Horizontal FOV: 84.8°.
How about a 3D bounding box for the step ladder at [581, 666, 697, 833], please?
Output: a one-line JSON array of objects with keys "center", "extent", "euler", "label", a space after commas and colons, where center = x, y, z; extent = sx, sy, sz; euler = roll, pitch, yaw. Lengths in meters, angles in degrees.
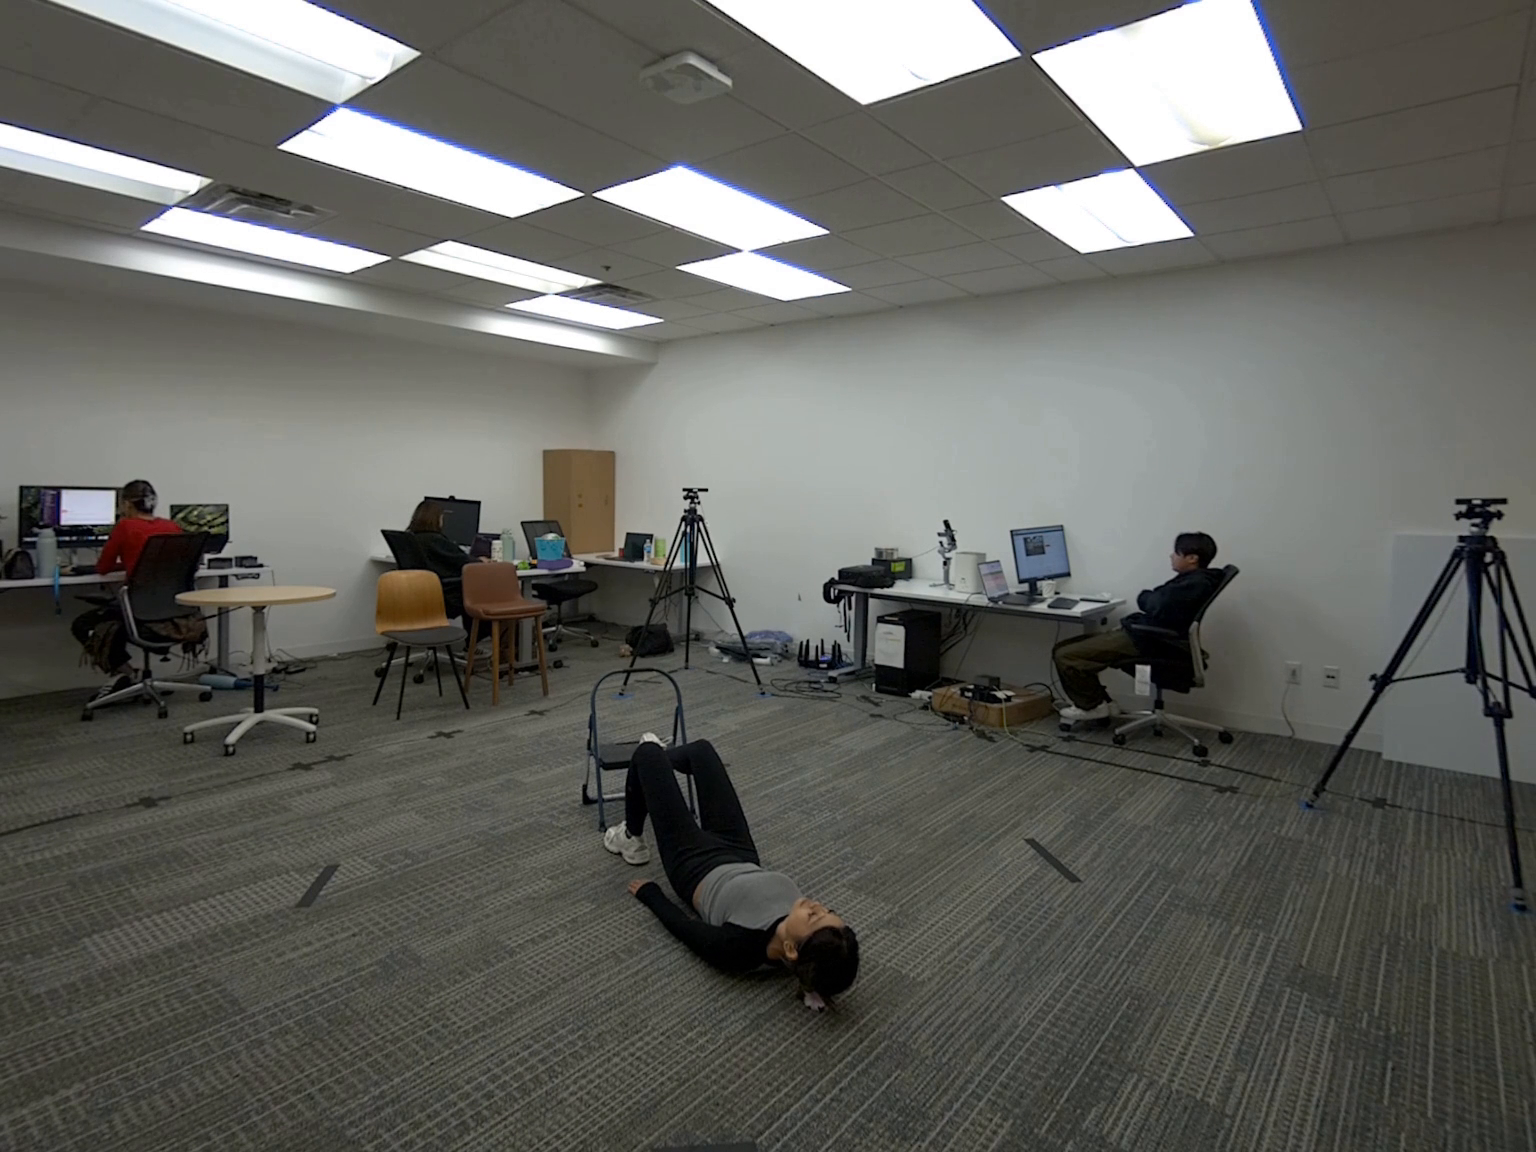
[{"center": [-0.571, 0.711, 3.654], "extent": [0.420, 0.604, 0.359], "euler": [0, 4, -25], "label": "step ladder"}]
